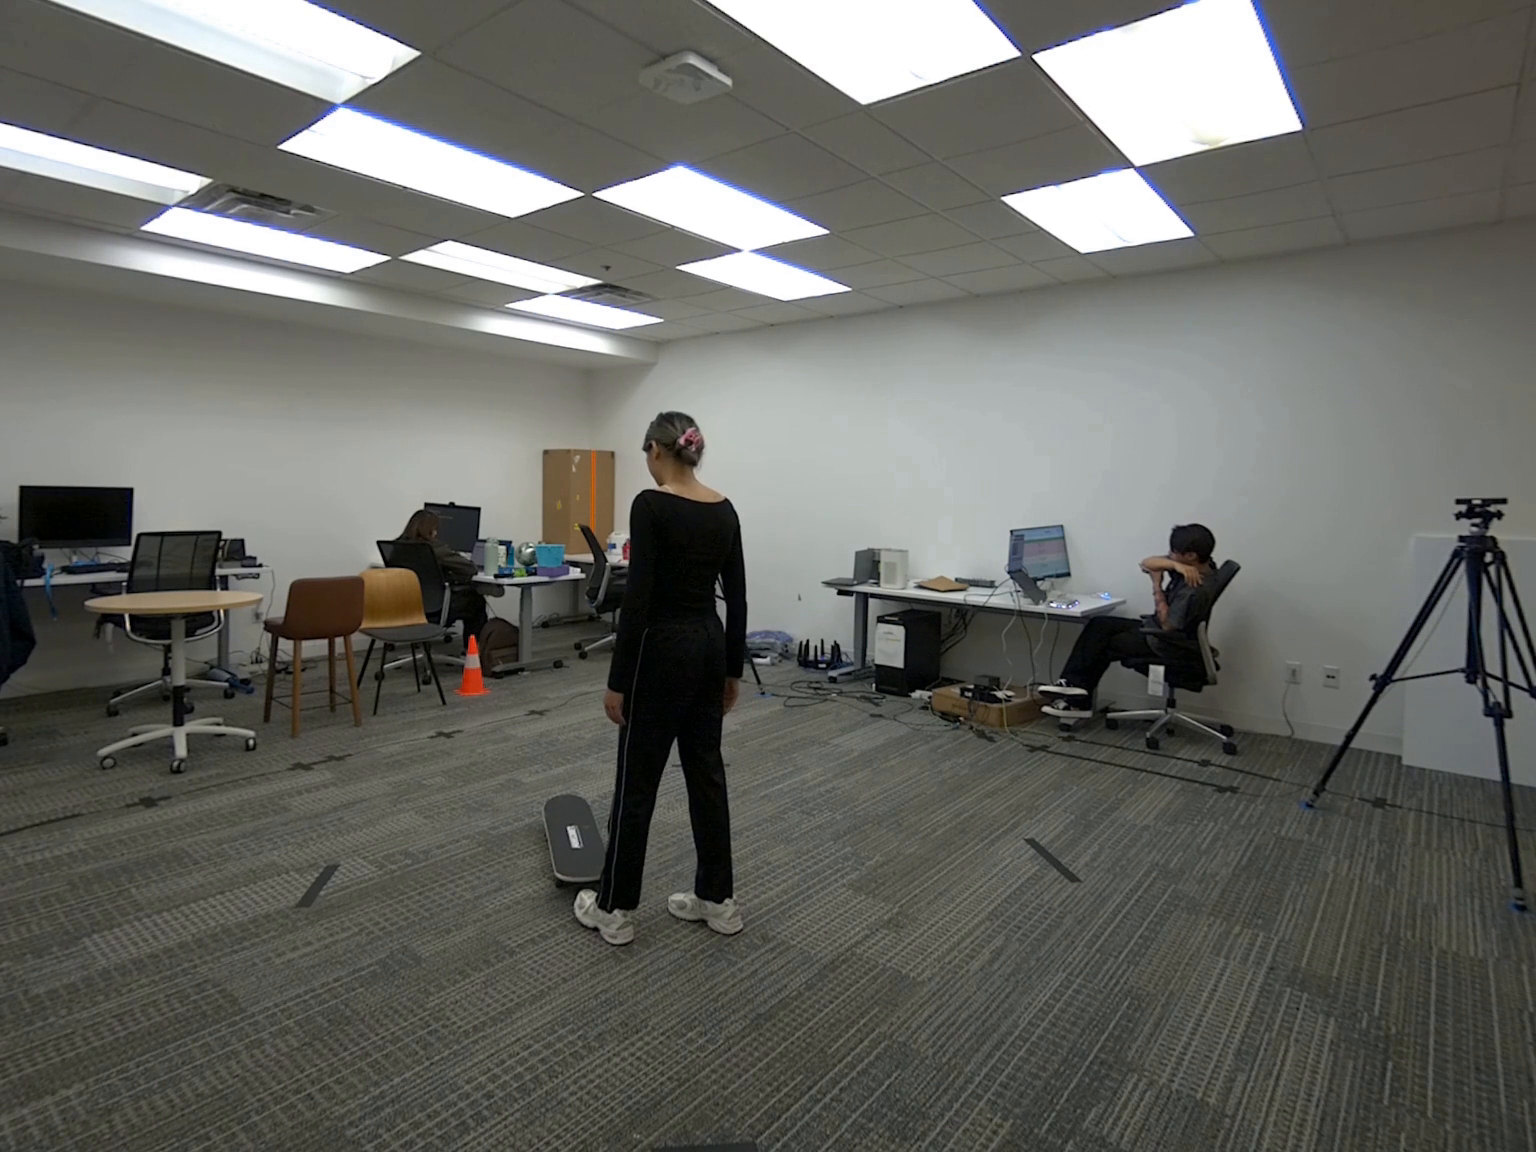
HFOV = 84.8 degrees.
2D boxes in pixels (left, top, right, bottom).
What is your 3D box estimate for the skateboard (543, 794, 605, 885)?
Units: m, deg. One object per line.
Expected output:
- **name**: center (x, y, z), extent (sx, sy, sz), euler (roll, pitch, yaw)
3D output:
- **skateboard**: center (-0.736, 1.001, 3.161), extent (0.190, 0.110, 0.802), euler (0, 6, -18)
